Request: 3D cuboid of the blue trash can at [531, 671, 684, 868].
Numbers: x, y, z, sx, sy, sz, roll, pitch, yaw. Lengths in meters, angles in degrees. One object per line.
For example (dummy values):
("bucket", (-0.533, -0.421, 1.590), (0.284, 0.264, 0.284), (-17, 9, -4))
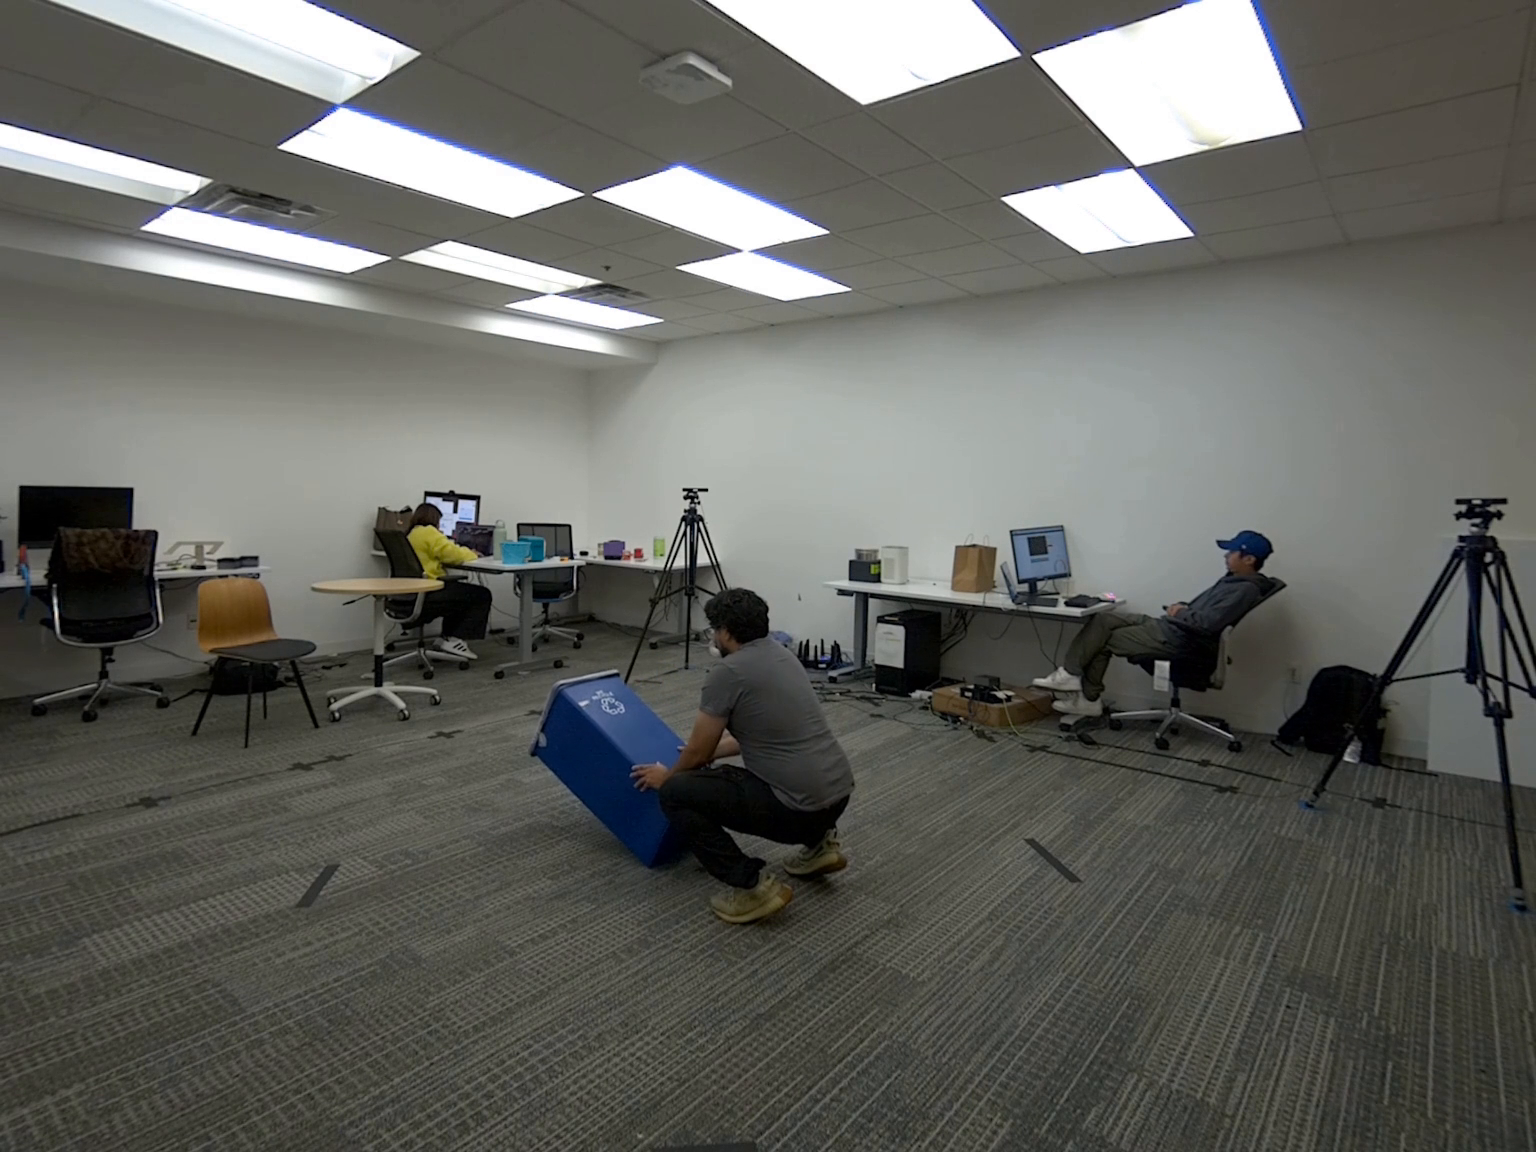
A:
("blue trash can", (-0.566, 0.747, 3.367), (0.741, 0.375, 0.363), (35, 22, 30))
